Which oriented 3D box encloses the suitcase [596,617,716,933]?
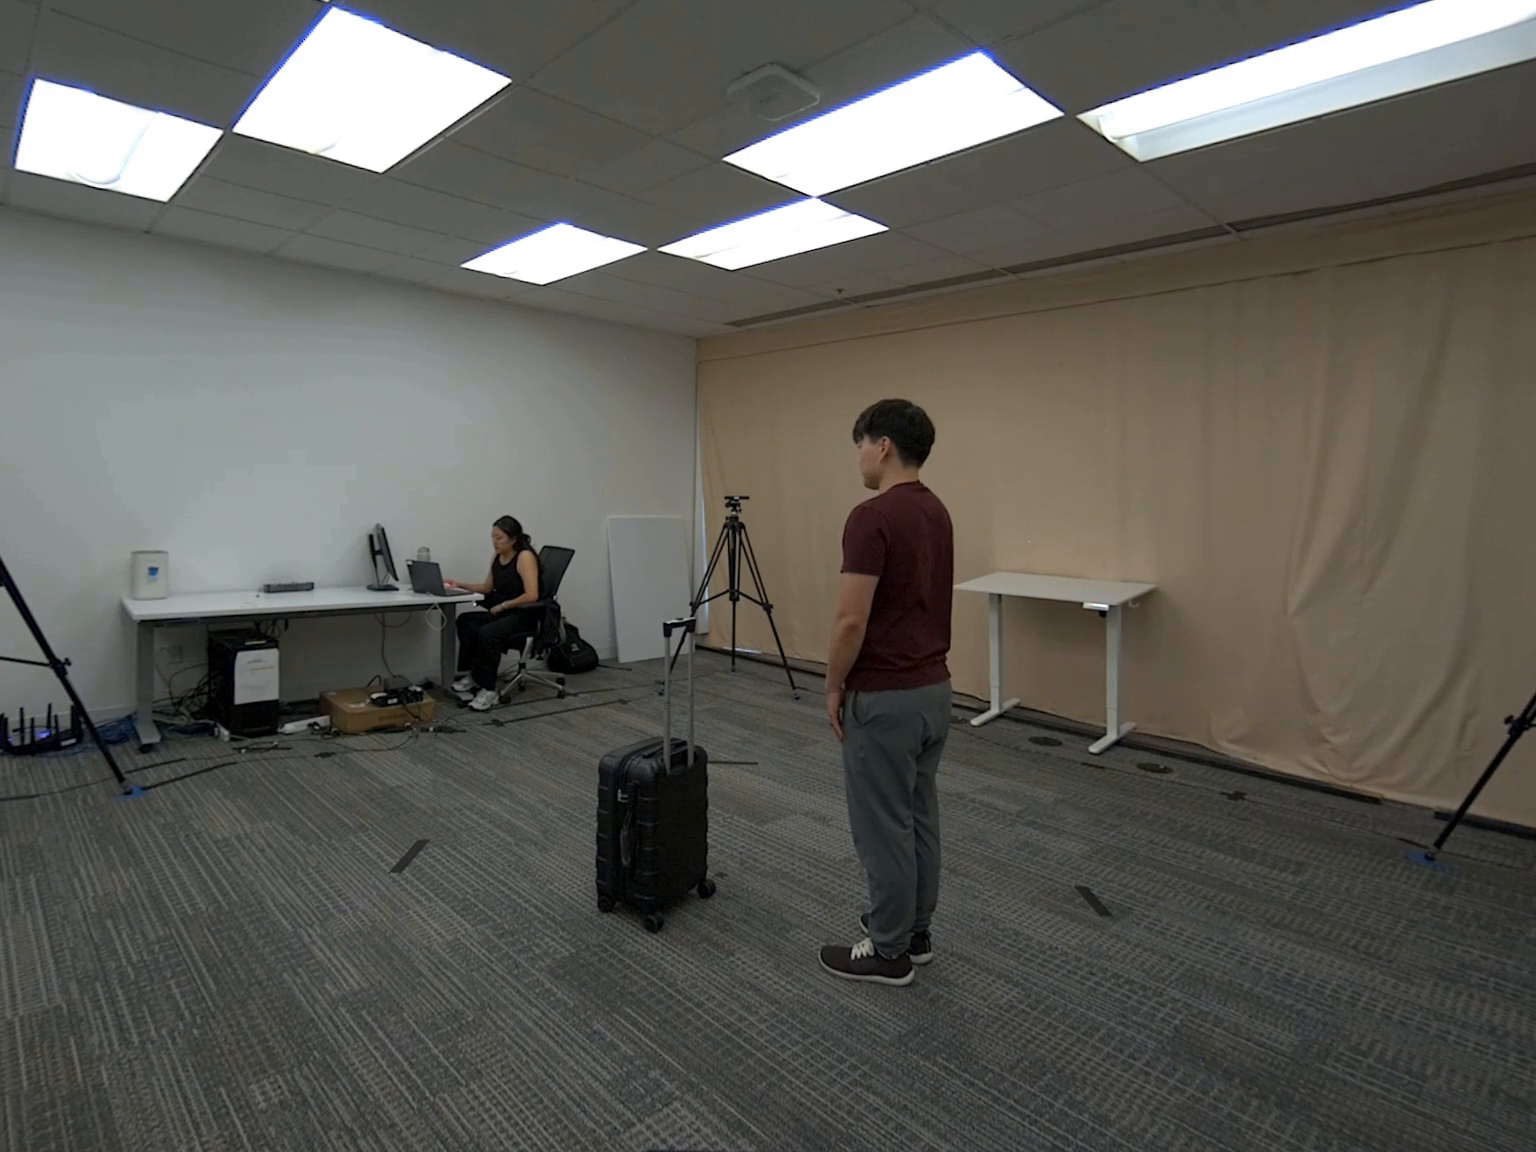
[{"bbox_3d":[-0.404,0.646,2.866,0.263,0.977,0.376,0,2,33],"label":"suitcase"}]
